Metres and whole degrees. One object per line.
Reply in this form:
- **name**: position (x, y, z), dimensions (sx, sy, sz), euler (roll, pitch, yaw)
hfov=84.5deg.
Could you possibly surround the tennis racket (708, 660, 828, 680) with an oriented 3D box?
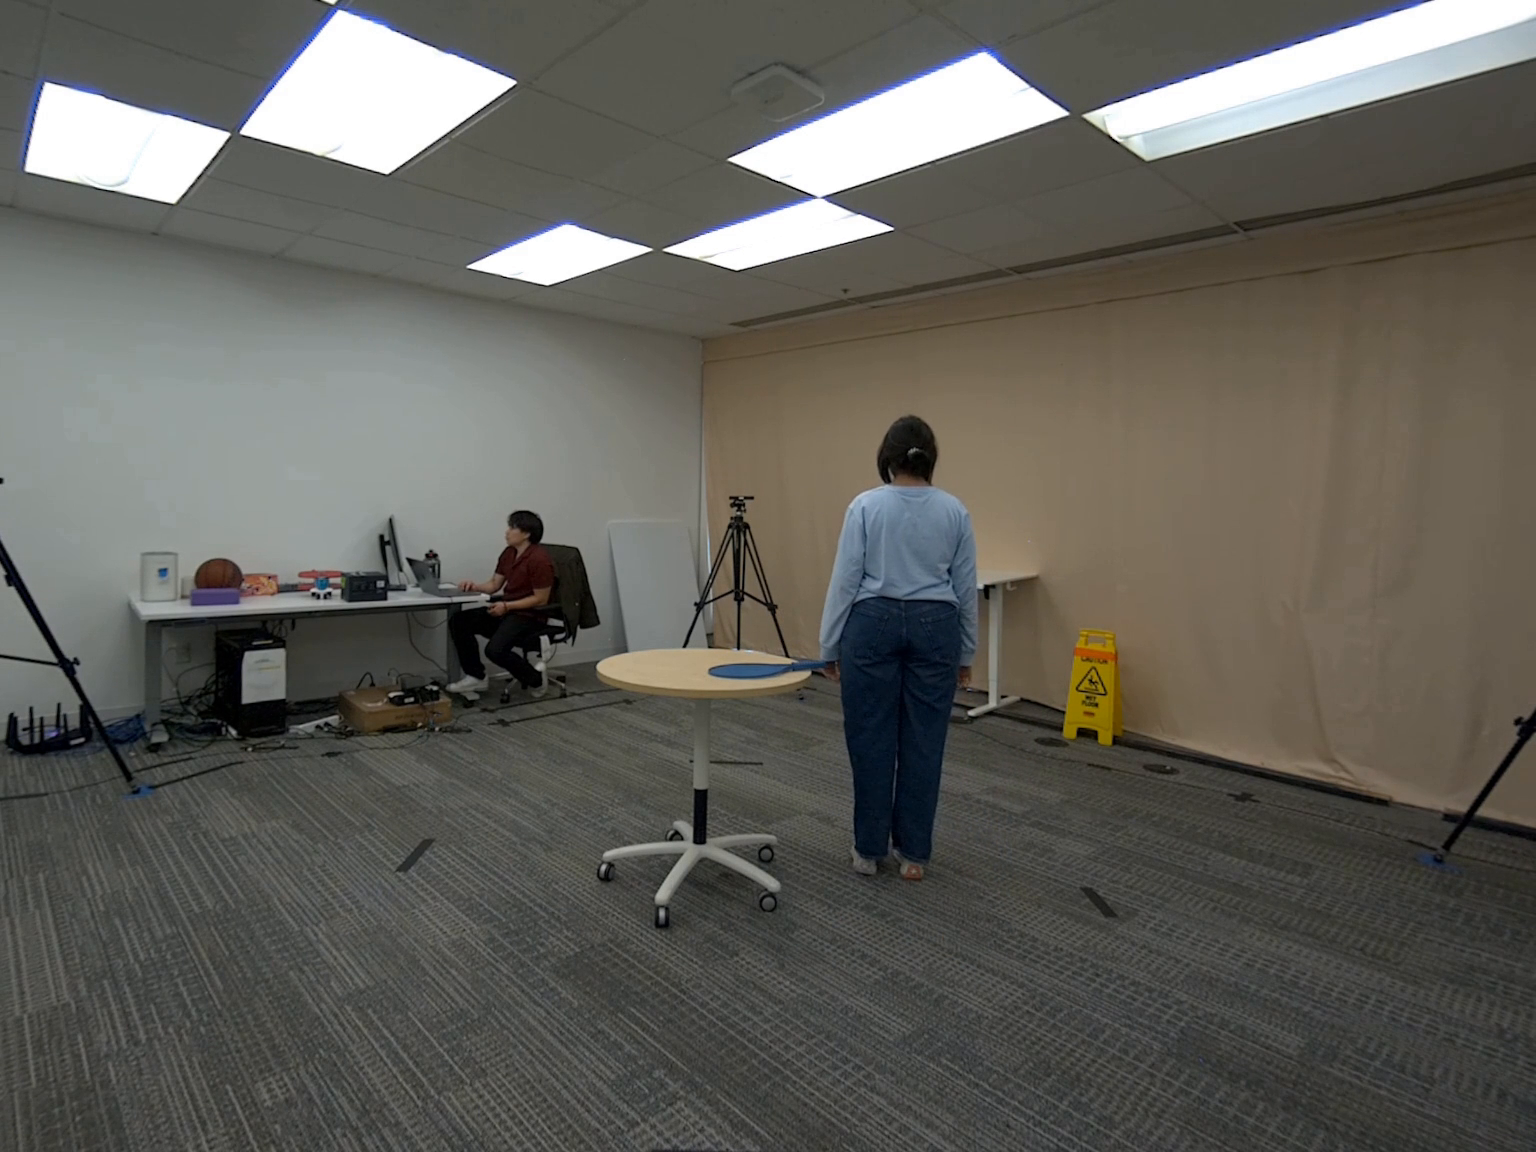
- **tennis racket**: position (0.003, 0.332, 2.945), dimensions (0.427, 0.031, 0.217), euler (-2, 5, -16)
